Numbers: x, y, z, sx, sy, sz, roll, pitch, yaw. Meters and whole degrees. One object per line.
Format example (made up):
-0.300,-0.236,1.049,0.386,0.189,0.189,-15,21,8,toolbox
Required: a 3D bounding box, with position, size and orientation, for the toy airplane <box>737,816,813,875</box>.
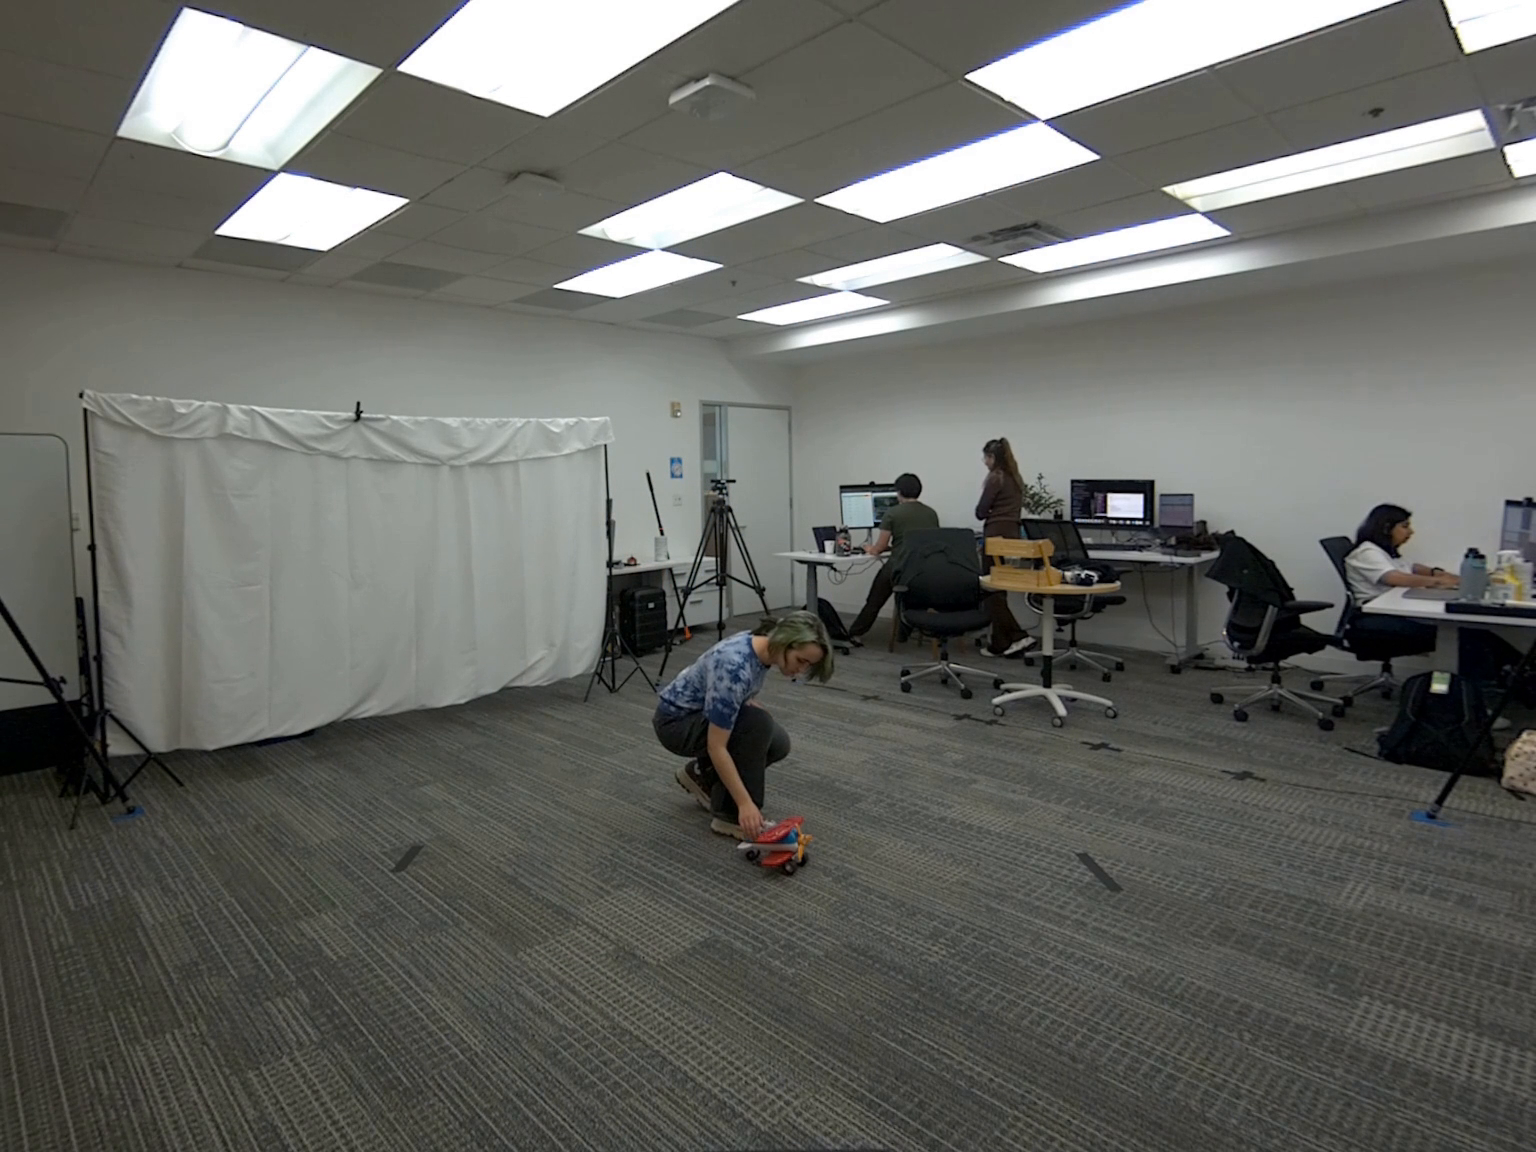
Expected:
0.017,0.978,3.081,0.260,0.156,0.251,0,4,3,toy airplane
